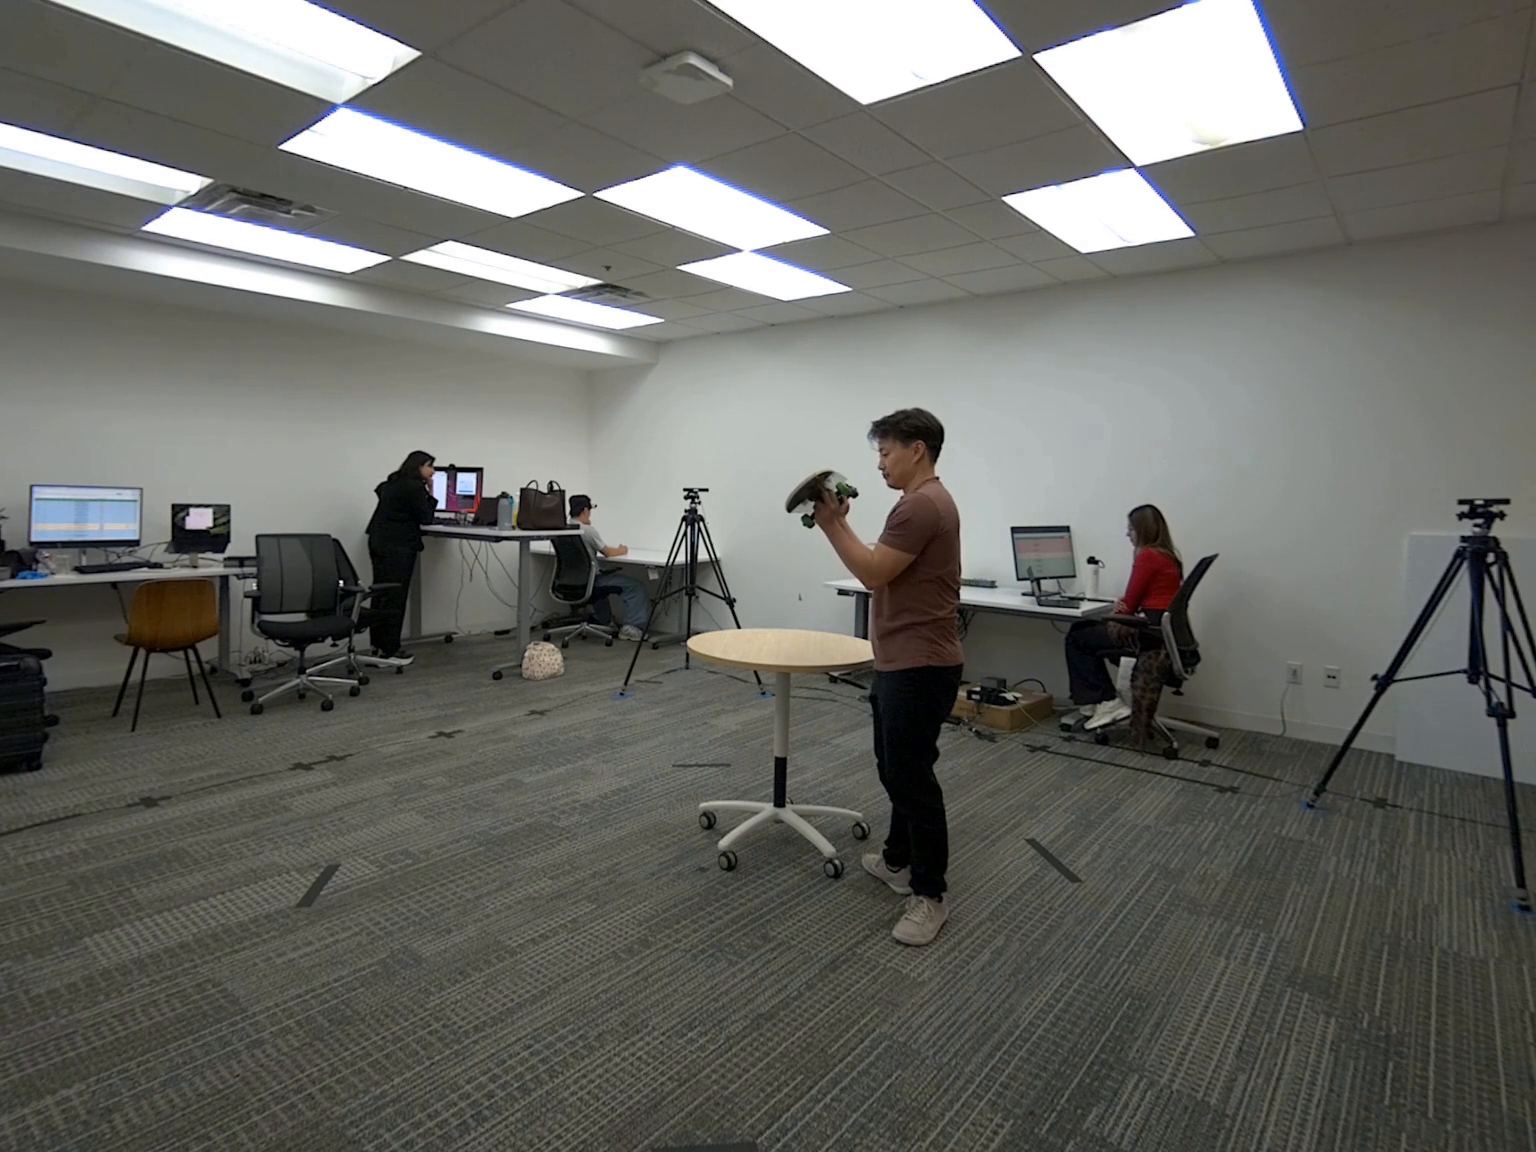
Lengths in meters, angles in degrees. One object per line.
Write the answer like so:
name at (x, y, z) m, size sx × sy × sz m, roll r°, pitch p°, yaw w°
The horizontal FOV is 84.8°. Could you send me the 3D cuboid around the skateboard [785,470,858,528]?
skateboard at (0.186, -0.262, 2.917) m, size 0.193 × 0.111 × 0.776 m, roll -44°, pitch -5°, yaw 10°
